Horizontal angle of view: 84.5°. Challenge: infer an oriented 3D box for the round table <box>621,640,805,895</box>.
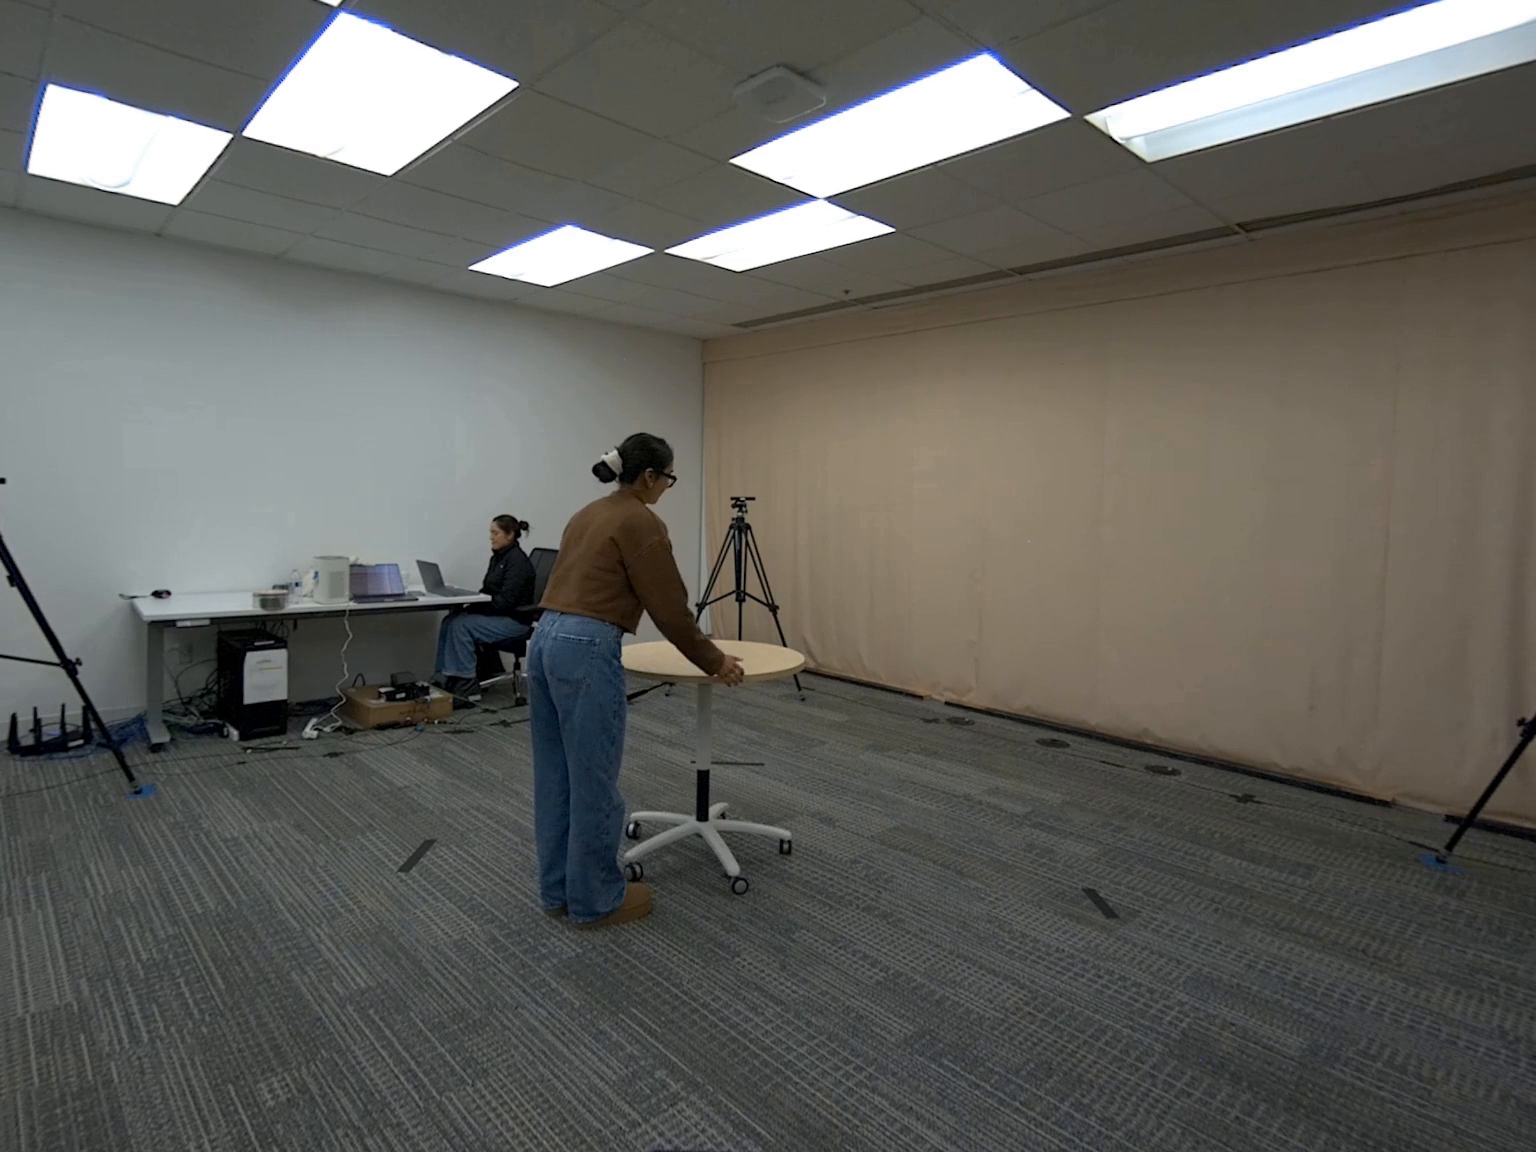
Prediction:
[{"bbox_3d":[-0.246,0.701,3.261,0.763,0.792,0.766,1,4,-1],"label":"round table"}]
